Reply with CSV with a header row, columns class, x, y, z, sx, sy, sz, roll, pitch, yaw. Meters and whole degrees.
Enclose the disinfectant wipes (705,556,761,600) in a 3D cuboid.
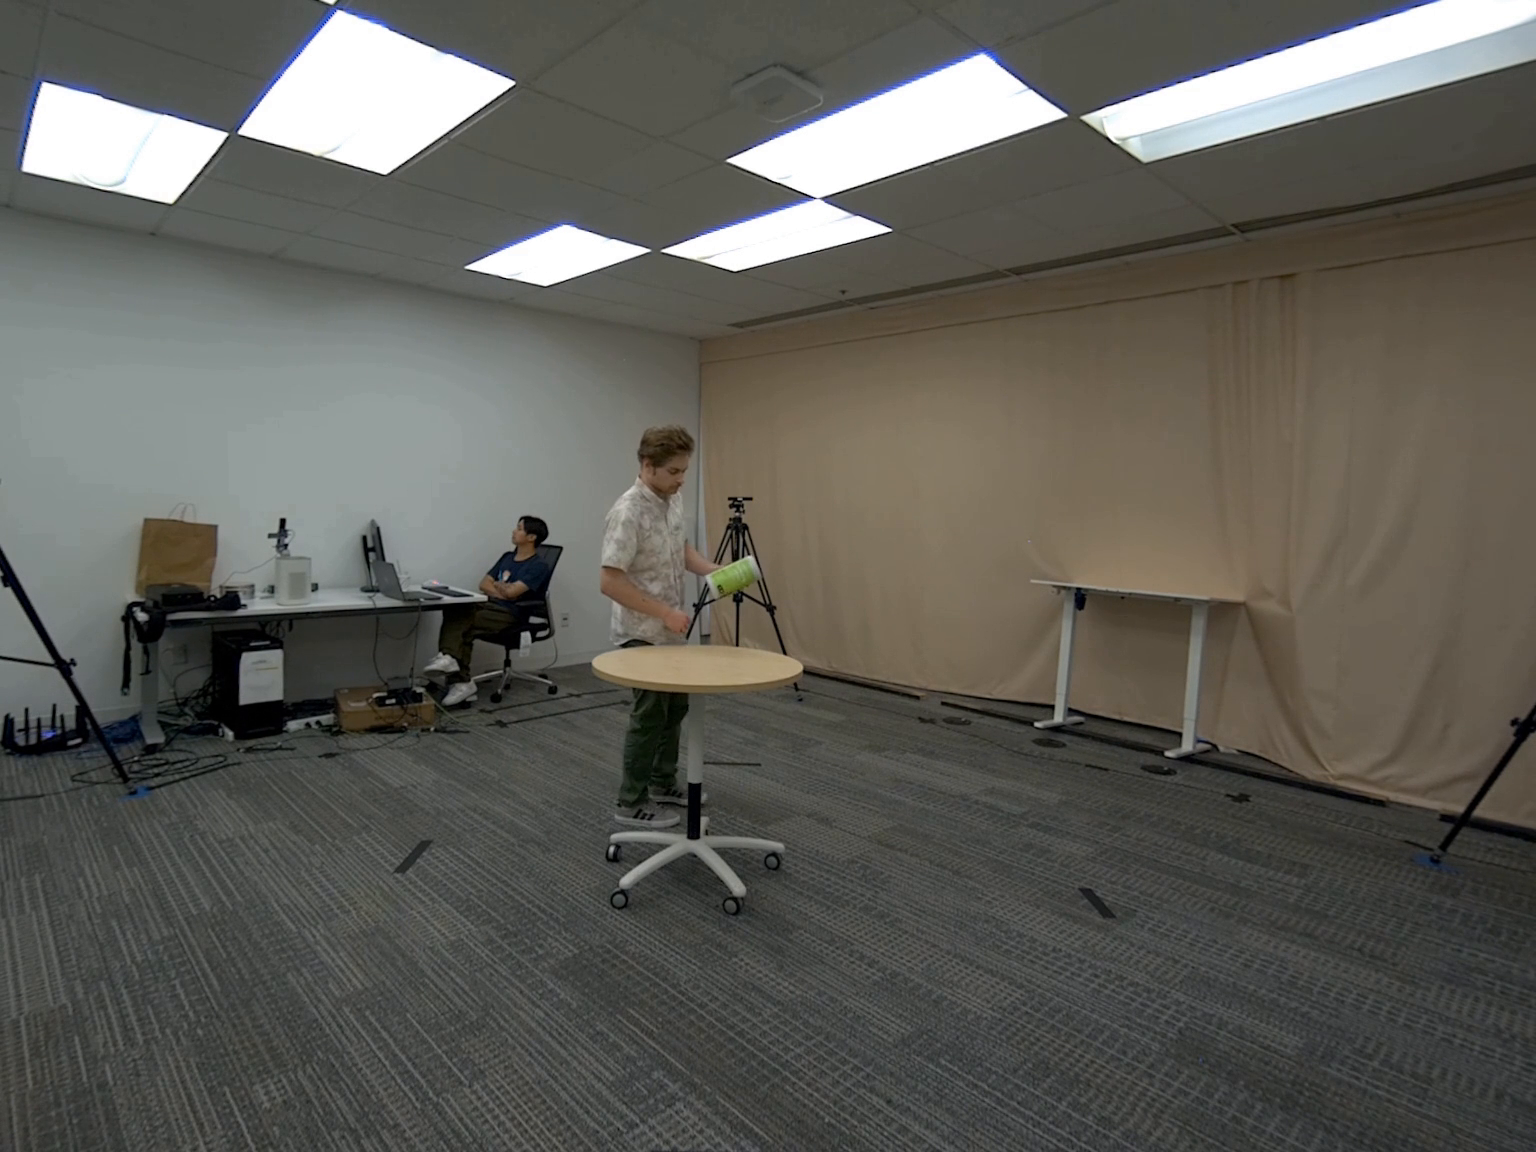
class,x,y,z,sx,sy,sz,roll,pitch,yaw
disinfectant wipes,-0.153,0.003,3.447,0.217,0.117,0.118,-25,6,-2
